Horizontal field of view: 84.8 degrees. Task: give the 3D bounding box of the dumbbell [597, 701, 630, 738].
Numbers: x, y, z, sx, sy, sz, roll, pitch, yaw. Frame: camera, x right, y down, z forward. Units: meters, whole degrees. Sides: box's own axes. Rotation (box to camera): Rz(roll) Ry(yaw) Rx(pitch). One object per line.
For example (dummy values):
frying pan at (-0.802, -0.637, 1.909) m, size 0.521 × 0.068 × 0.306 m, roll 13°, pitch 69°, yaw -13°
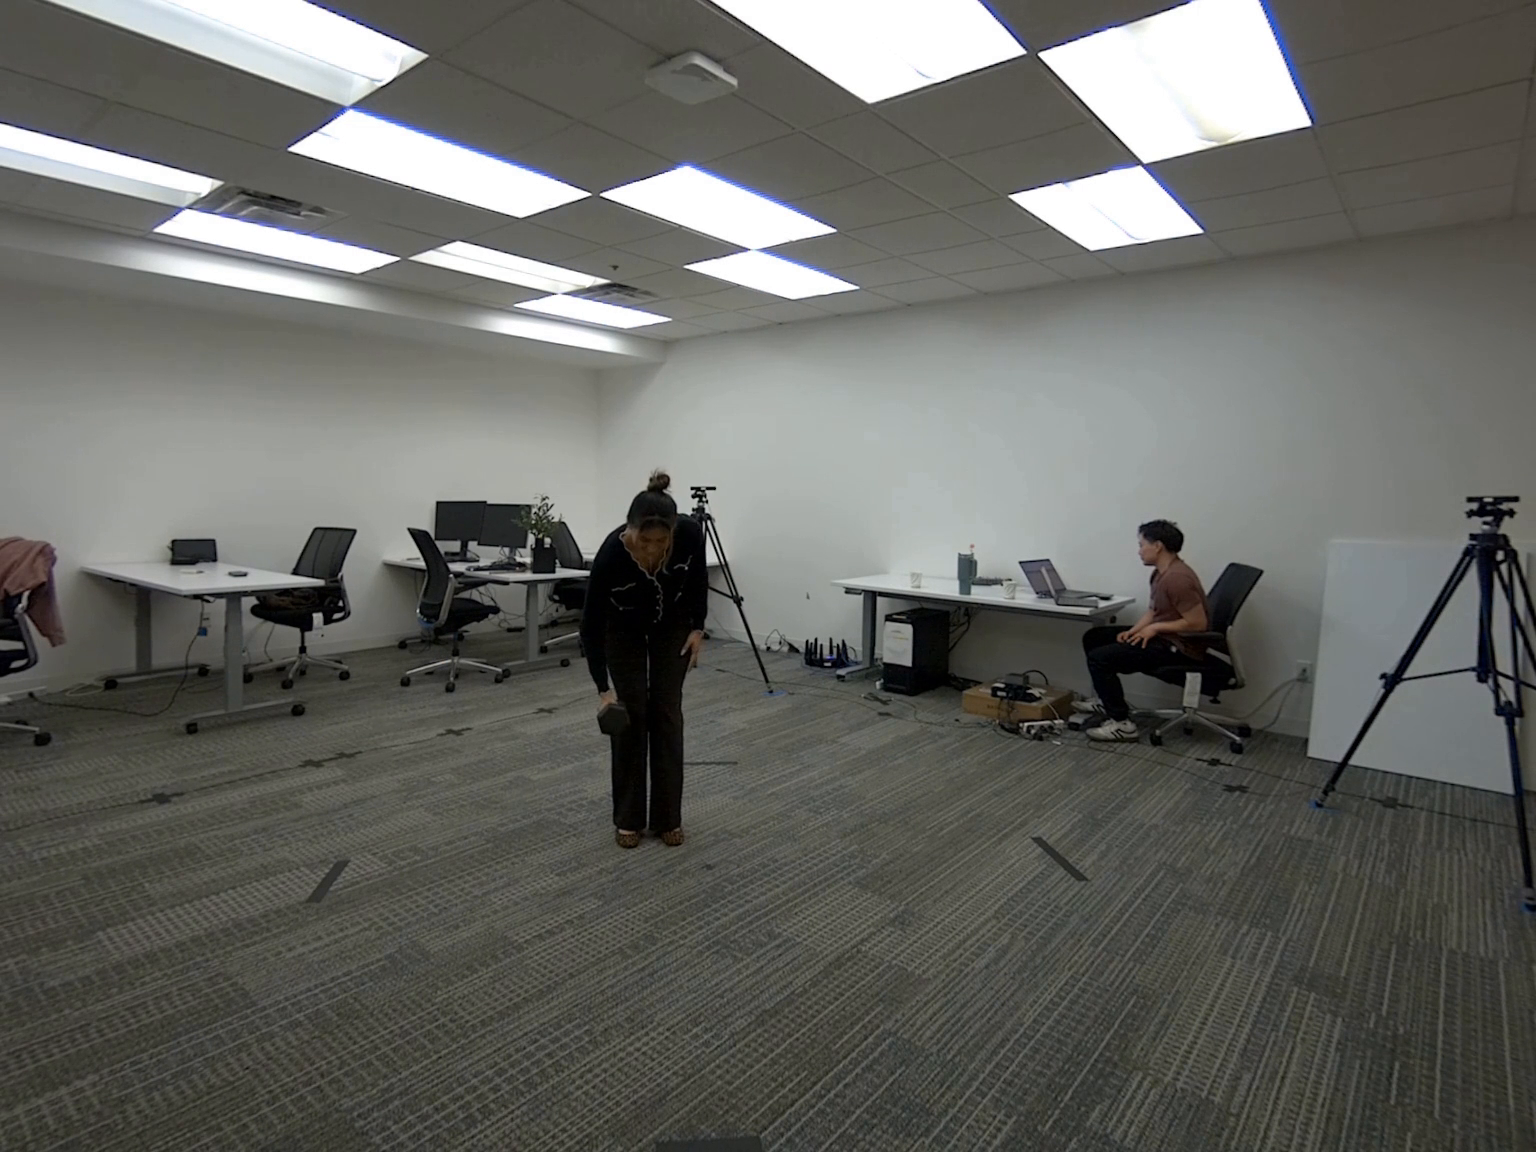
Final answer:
dumbbell at (-0.593, 0.510, 3.128) m, size 0.121 × 0.109 × 0.296 m, roll 16°, pitch -5°, yaw -12°
